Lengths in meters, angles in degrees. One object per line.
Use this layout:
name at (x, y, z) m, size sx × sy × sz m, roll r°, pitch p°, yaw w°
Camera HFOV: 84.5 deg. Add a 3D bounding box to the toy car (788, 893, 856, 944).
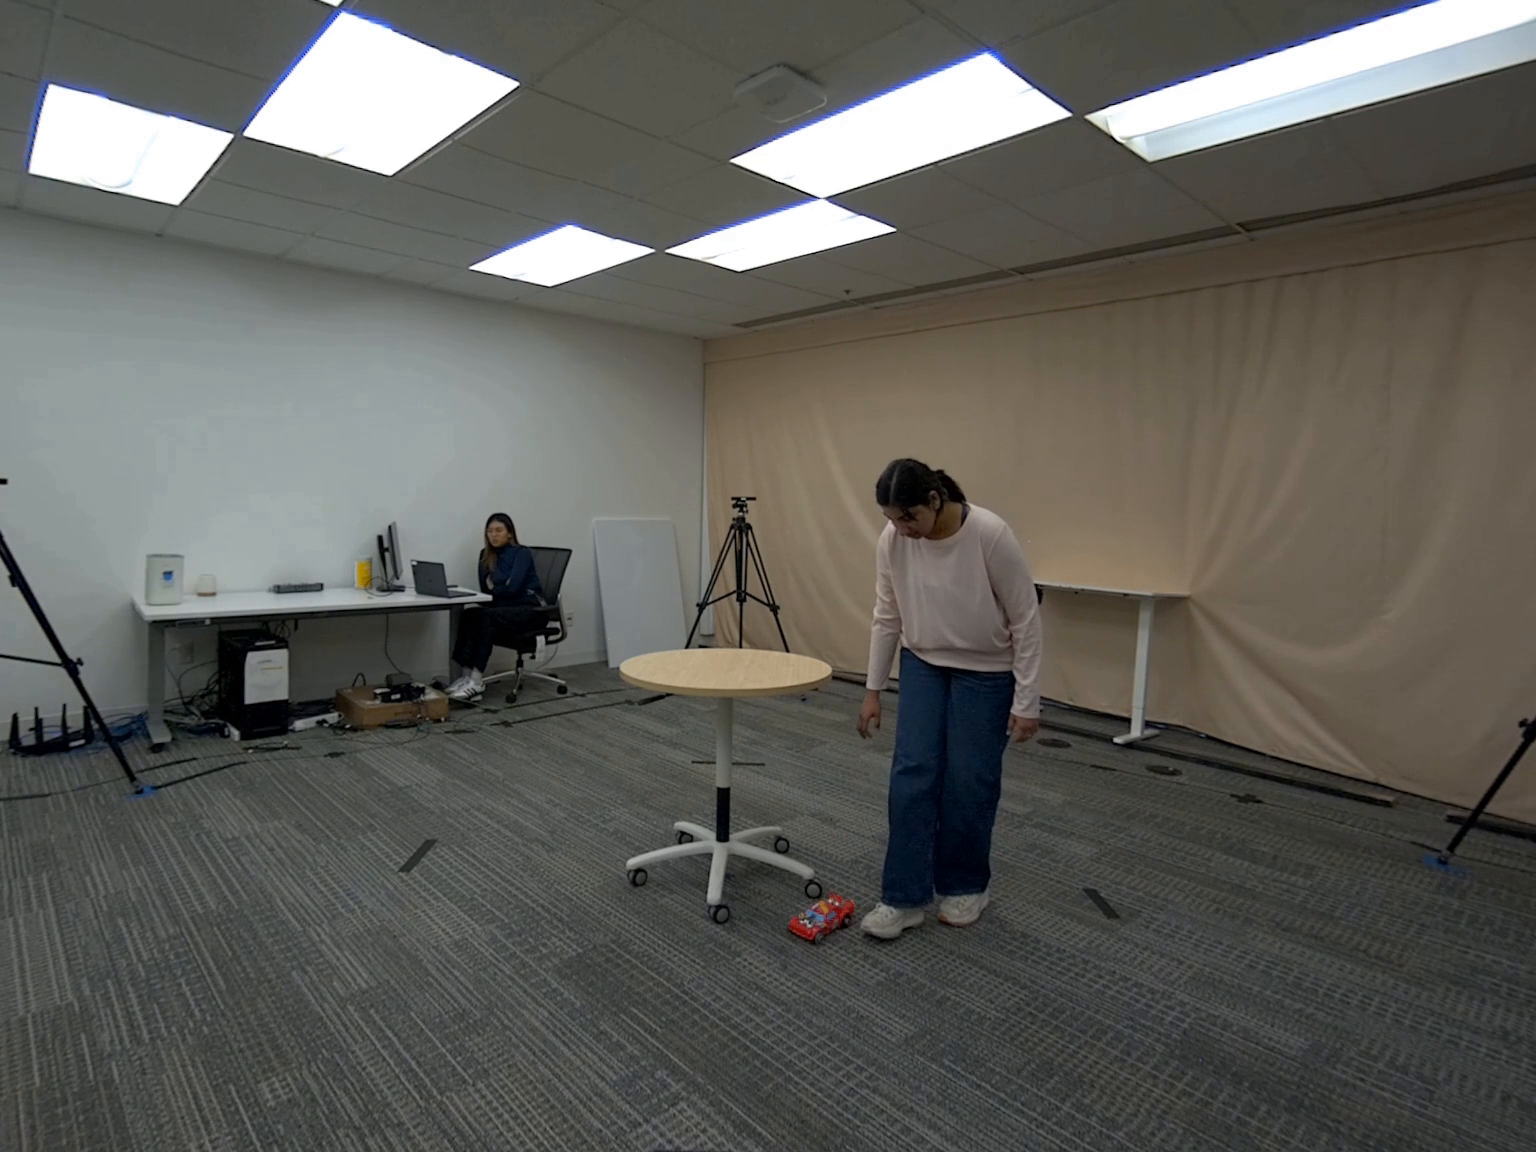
toy car at (0.180, 1.113, 2.736) m, size 0.133 × 0.082 × 0.250 m, roll 5°, pitch 17°, yaw 44°
